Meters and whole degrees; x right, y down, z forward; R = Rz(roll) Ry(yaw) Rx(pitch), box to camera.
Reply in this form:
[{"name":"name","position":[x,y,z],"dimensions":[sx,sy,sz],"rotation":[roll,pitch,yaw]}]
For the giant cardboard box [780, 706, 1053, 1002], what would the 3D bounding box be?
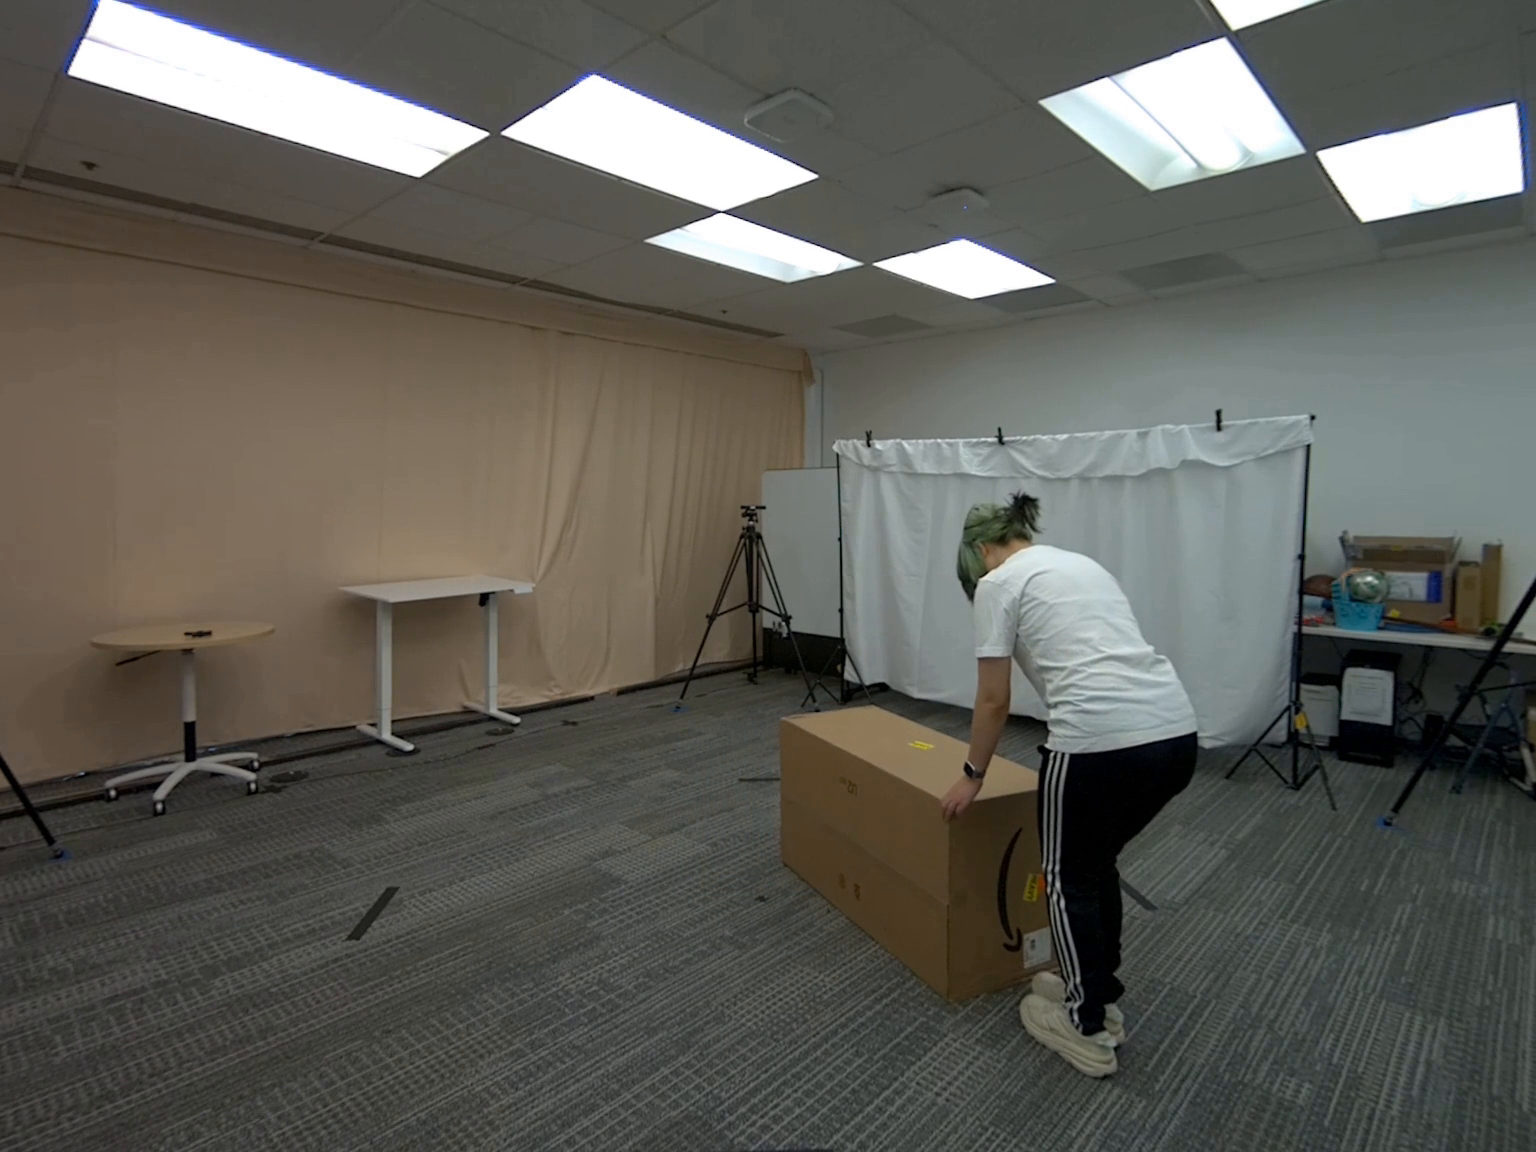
[{"name":"giant cardboard box","position":[0.471,0.861,2.885],"dimensions":[0.436,0.582,1.055],"rotation":[-1,5,-26]}]
